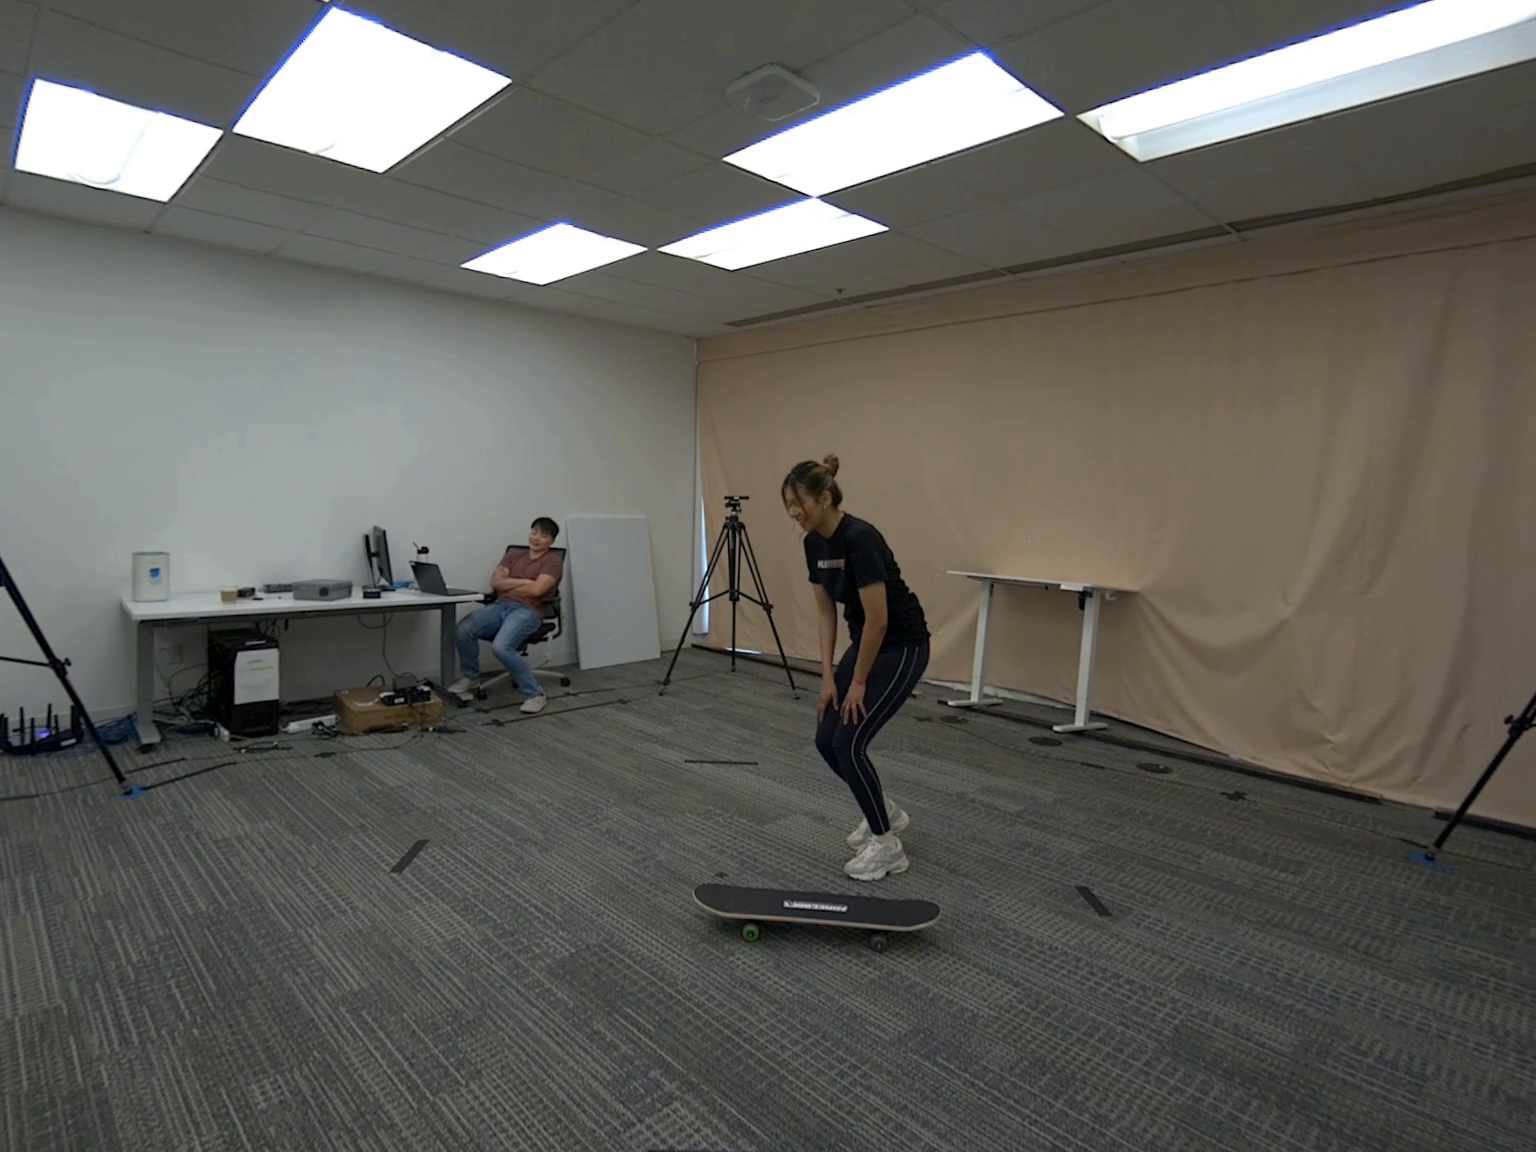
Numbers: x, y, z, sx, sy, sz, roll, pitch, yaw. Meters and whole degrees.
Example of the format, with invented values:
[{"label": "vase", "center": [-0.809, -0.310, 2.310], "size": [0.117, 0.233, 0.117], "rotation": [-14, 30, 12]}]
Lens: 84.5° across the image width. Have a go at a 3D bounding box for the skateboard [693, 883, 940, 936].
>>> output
[{"label": "skateboard", "center": [0.141, 1.092, 2.696], "size": [0.790, 0.110, 0.193], "rotation": [2, 4, 6]}]
